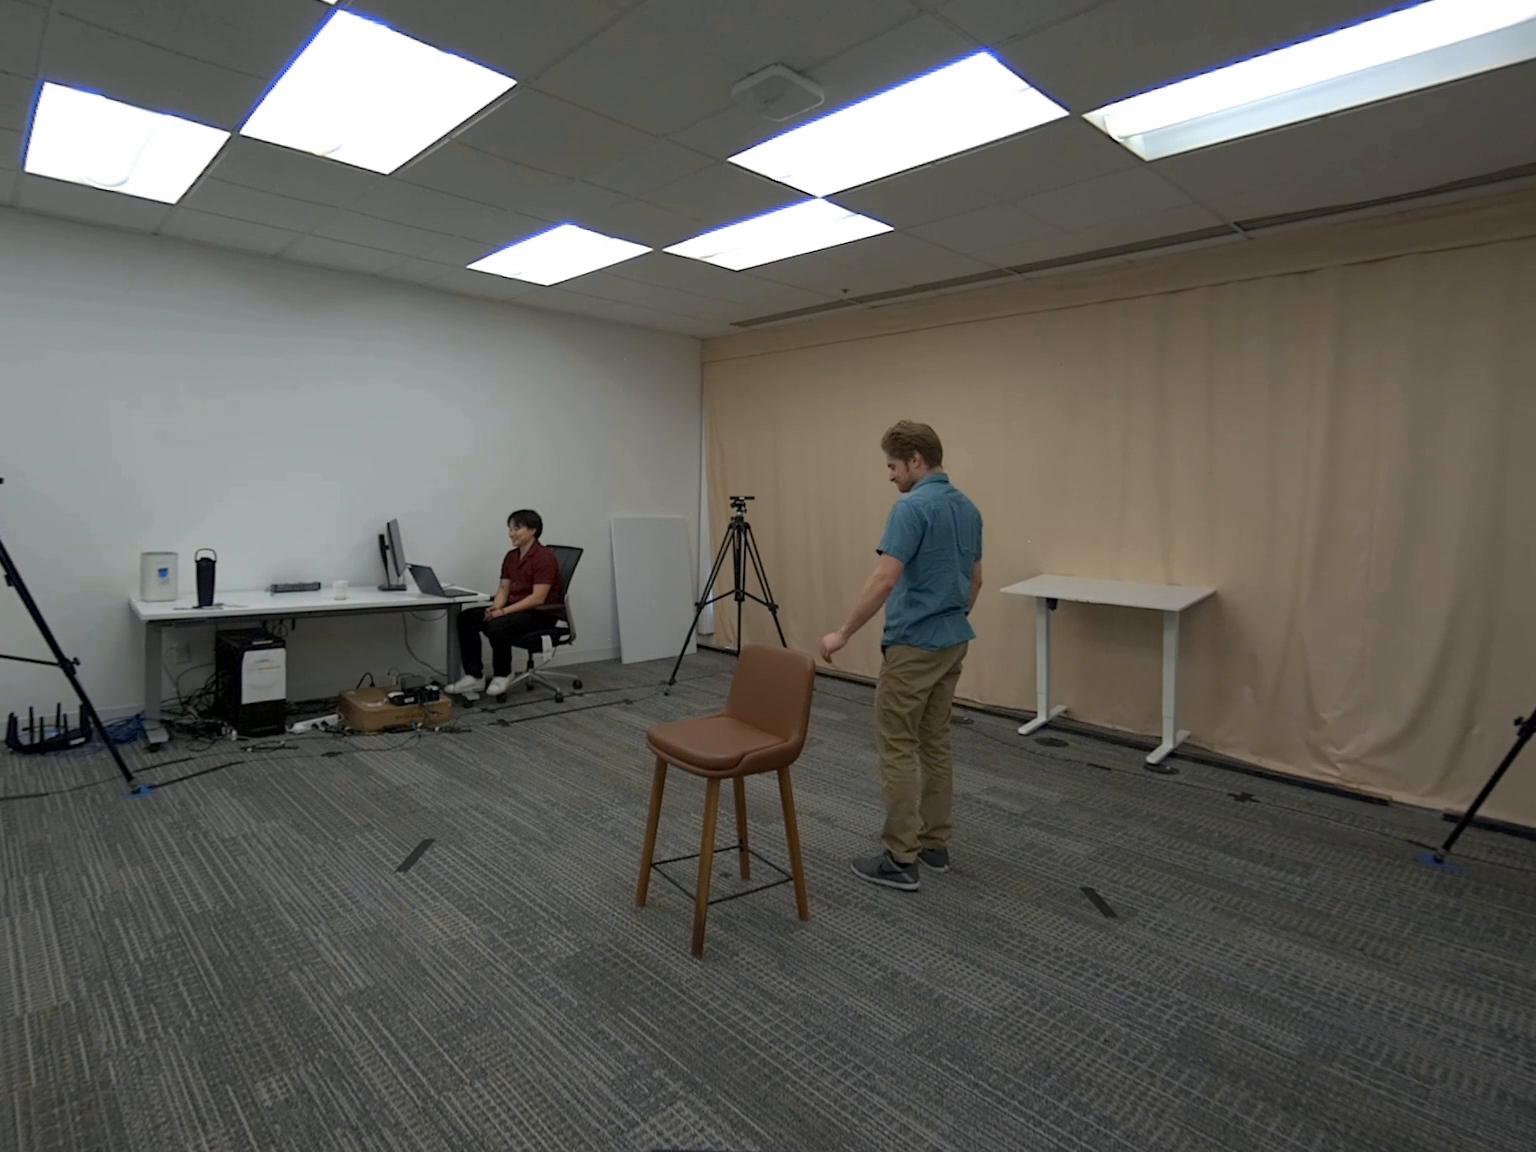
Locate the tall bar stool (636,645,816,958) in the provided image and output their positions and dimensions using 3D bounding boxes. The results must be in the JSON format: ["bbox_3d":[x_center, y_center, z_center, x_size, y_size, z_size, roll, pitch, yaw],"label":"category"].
[{"bbox_3d":[-0.143,0.699,2.799,0.457,0.888,0.467,1,2,-35],"label":"tall bar stool"}]
